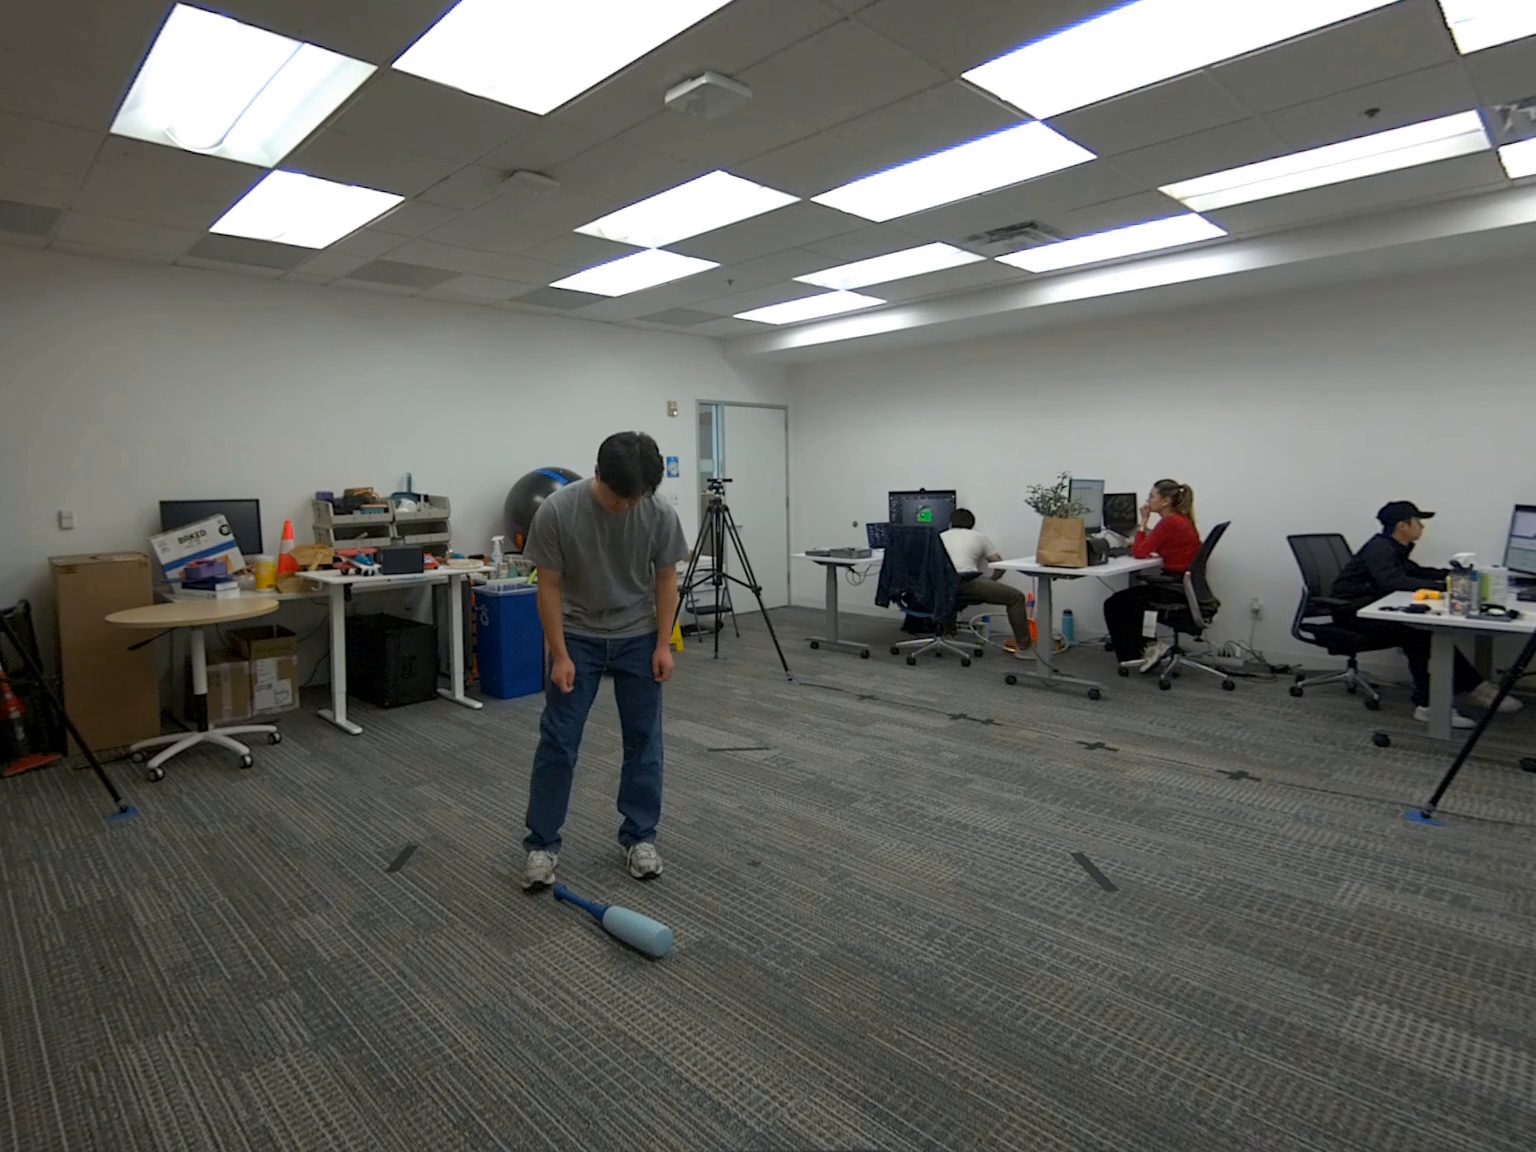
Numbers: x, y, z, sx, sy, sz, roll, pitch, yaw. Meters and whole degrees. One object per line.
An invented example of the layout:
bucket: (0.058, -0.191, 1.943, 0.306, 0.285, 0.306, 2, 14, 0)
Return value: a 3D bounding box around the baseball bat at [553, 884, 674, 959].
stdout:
baseball bat: (-0.501, 1.071, 2.679, 0.558, 0.089, 0.087, 0, 4, 44)
